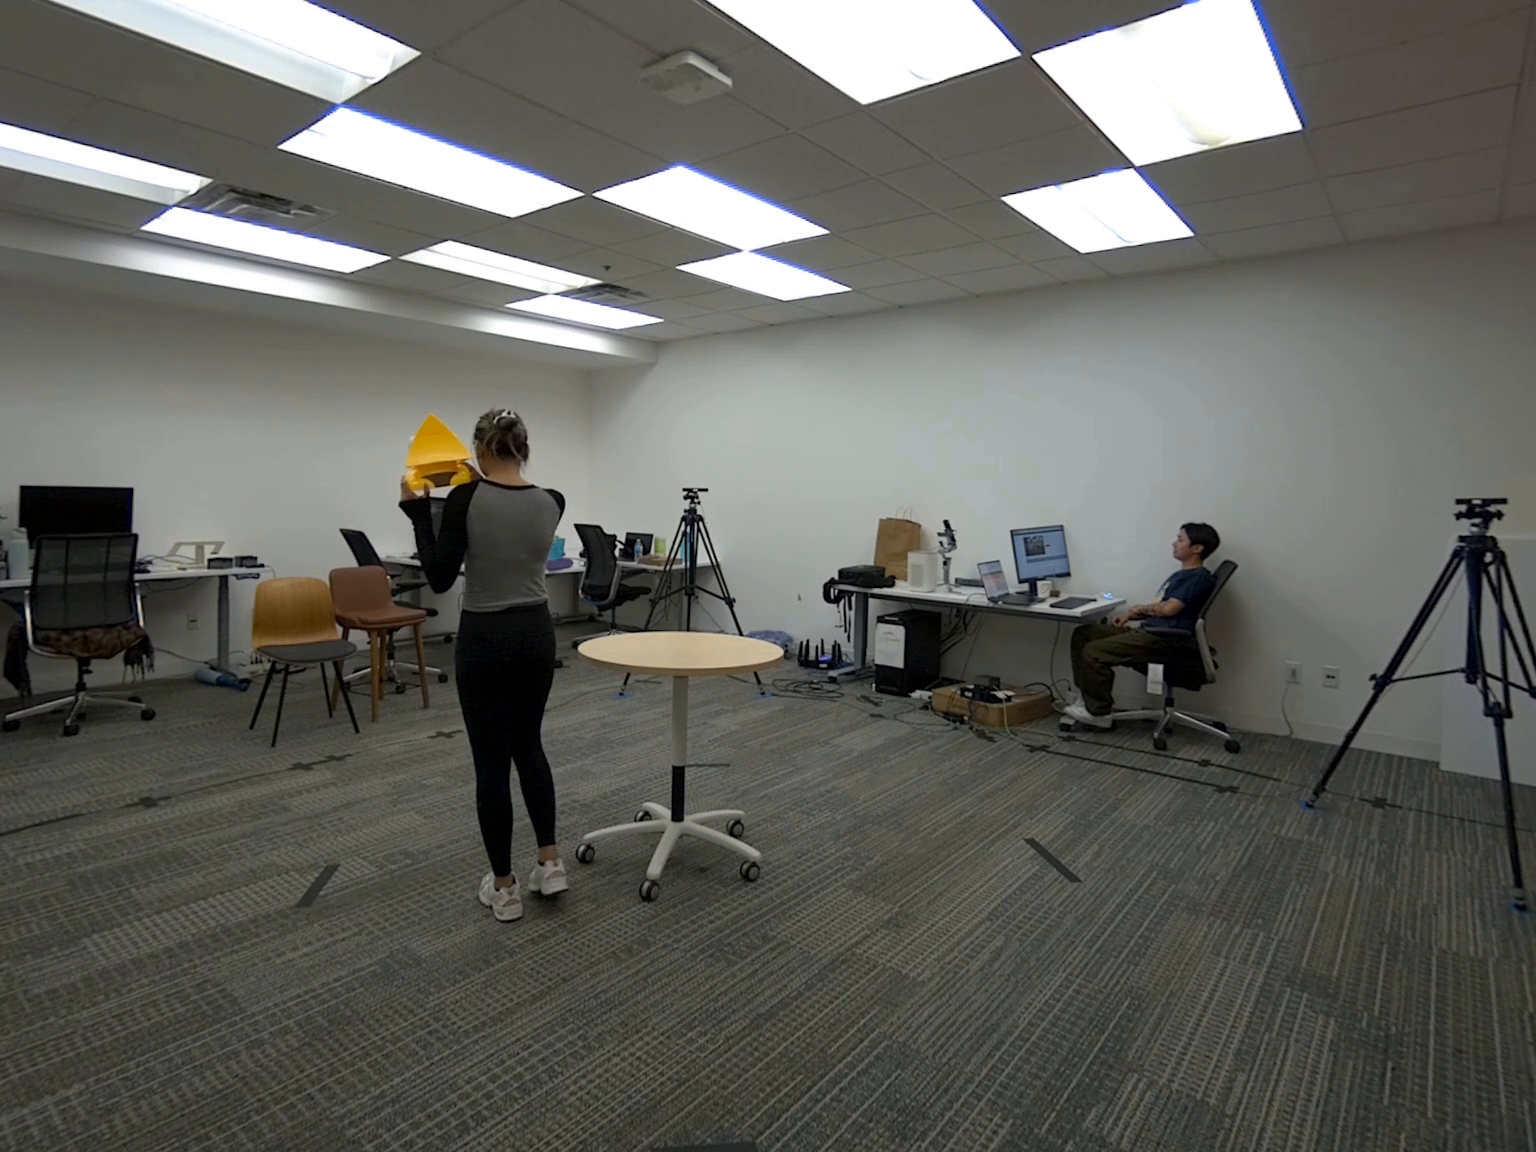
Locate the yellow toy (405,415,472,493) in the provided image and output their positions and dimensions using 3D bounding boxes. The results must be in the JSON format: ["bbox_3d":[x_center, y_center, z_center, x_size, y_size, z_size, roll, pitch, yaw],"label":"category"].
[{"bbox_3d":[-1.068,-0.400,2.689,0.201,0.228,0.199,-12,12,-26],"label":"yellow toy"}]
